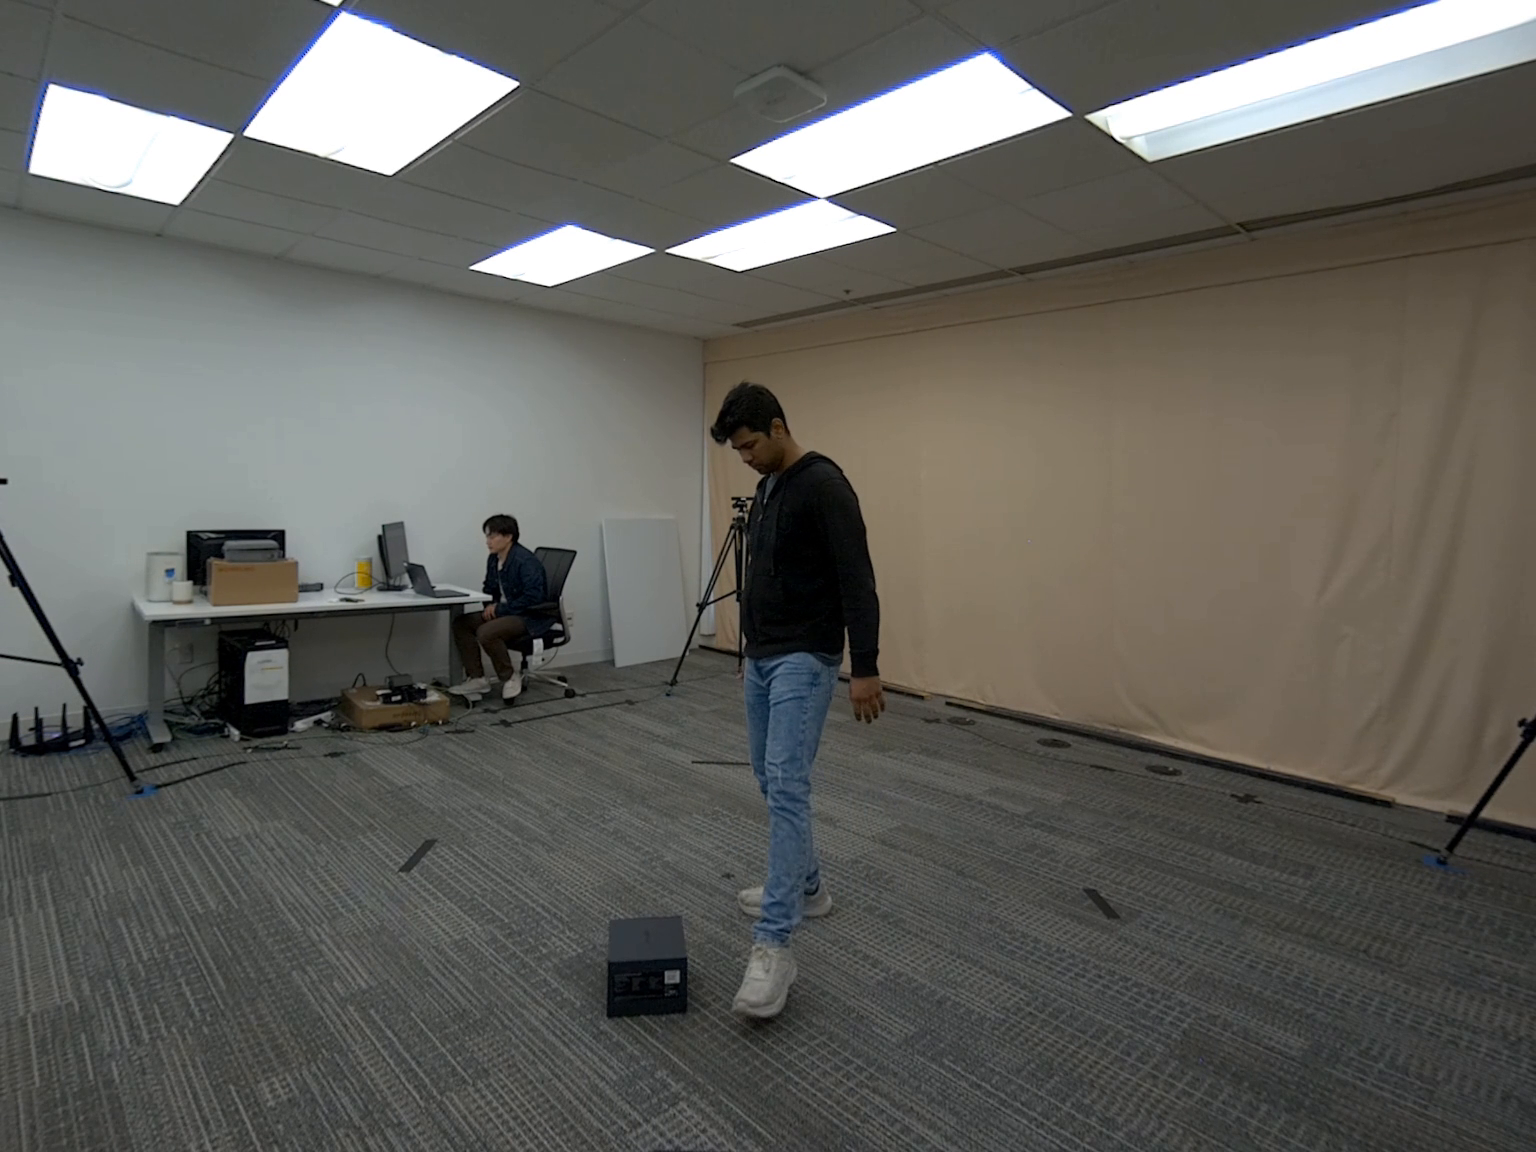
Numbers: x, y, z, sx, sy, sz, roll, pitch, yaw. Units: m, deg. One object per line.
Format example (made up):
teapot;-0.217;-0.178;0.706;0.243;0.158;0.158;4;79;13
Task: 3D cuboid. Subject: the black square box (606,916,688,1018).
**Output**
black square box;-0.334;1.086;2.361;0.215;0.155;0.230;1;4;-9
